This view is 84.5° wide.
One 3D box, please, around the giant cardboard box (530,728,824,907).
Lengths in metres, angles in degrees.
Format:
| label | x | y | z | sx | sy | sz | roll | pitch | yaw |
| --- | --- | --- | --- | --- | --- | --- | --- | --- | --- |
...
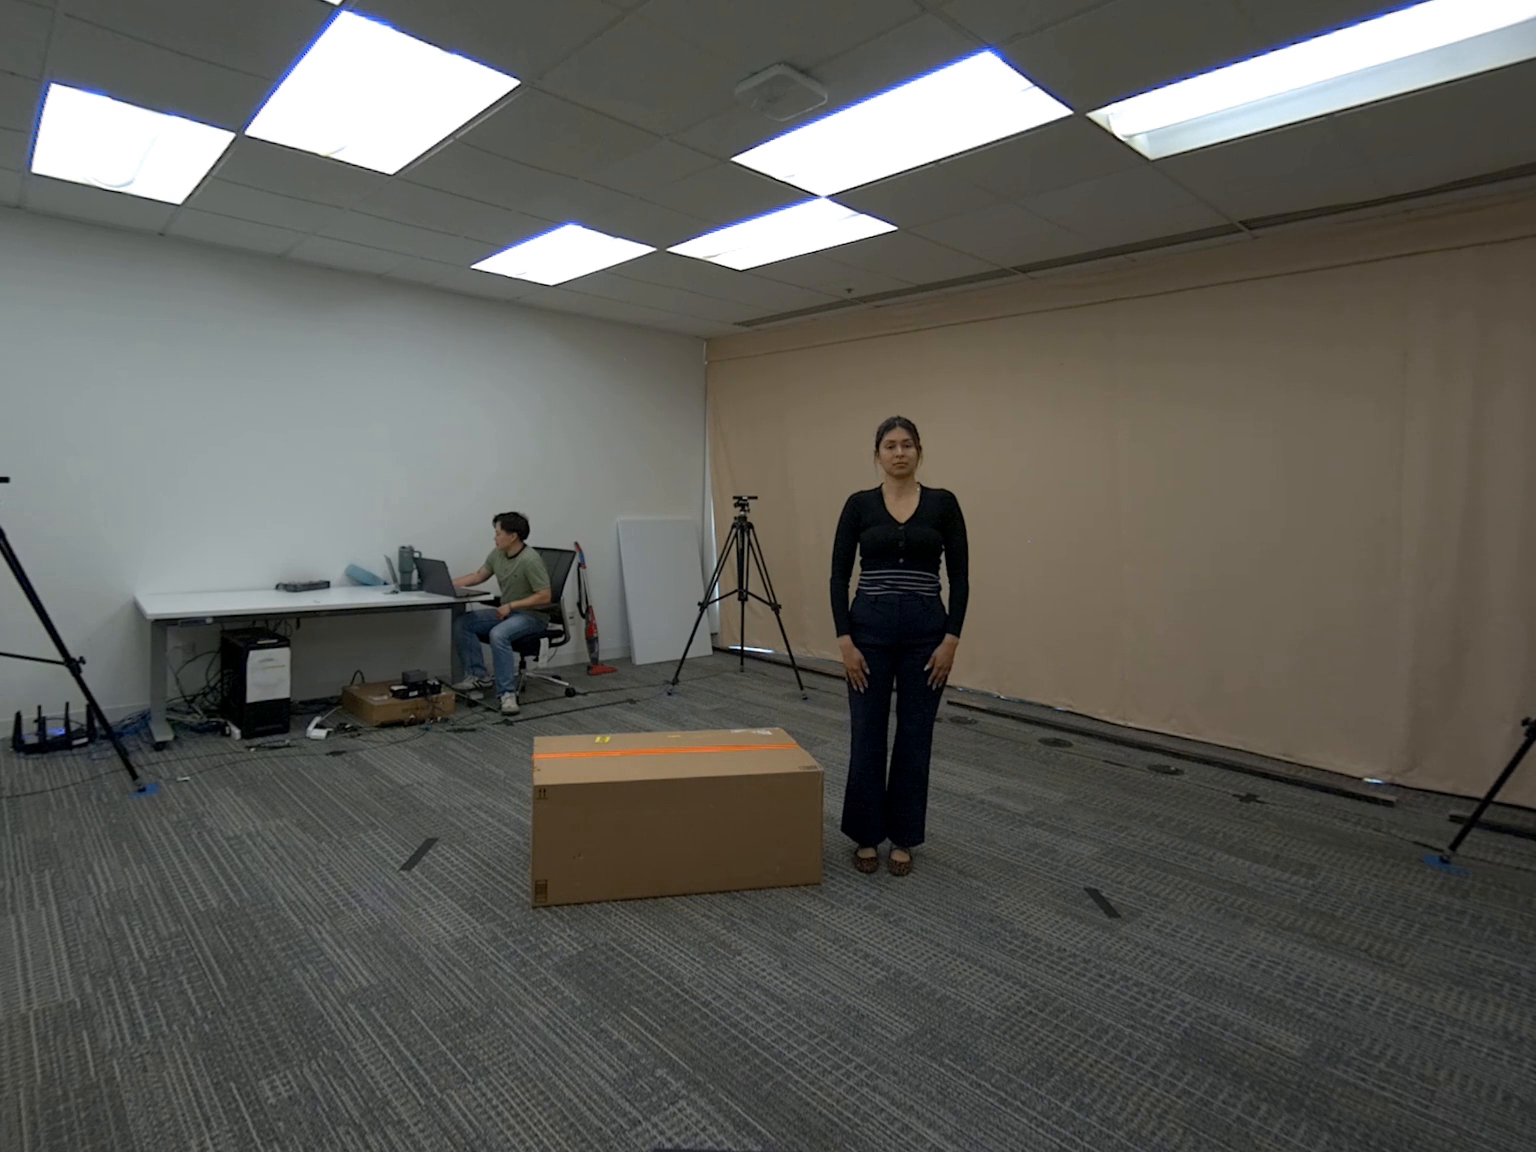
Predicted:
| label | x | y | z | sx | sy | sz | roll | pitch | yaw |
| --- | --- | --- | --- | --- | --- | --- | --- | --- | --- |
| giant cardboard box | -0.373 | 0.872 | 3.189 | 1.015 | 0.425 | 0.585 | 0 | 4 | -14 |
